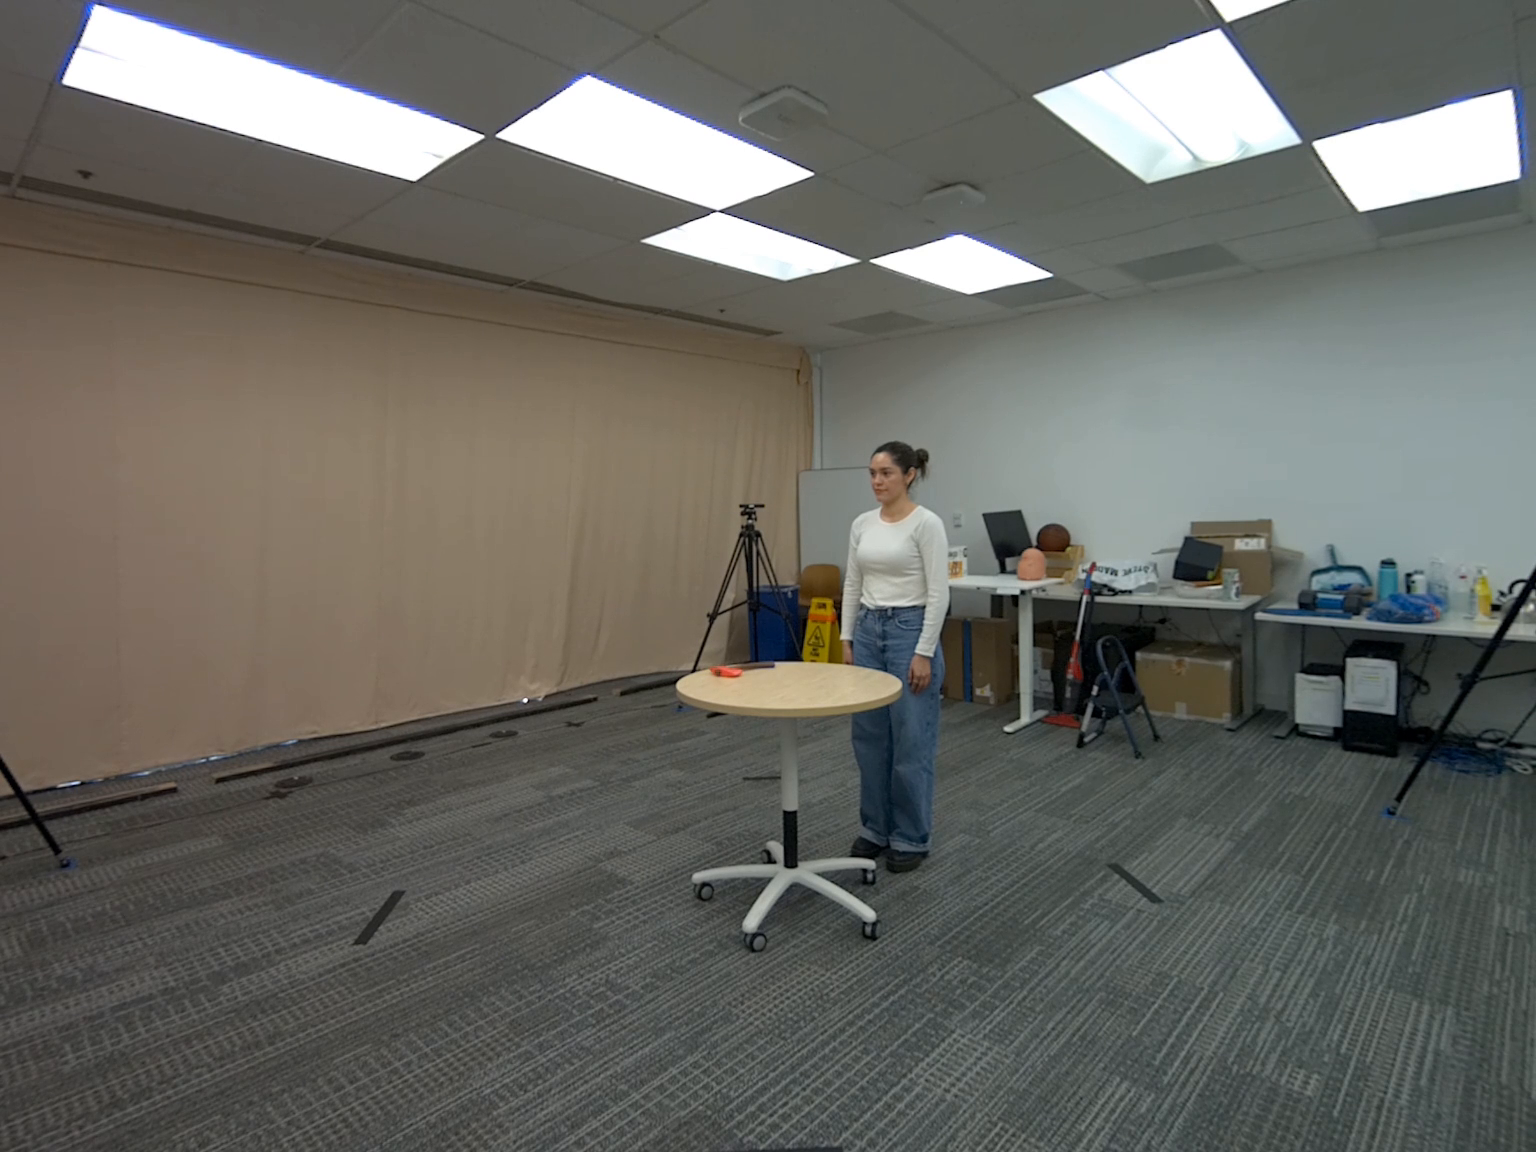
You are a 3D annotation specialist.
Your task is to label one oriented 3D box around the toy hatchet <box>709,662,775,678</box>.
[{"bbox_3d":[-0.071,0.345,3.066,0.263,0.029,0.135,-2,6,-27],"label":"toy hatchet"}]
